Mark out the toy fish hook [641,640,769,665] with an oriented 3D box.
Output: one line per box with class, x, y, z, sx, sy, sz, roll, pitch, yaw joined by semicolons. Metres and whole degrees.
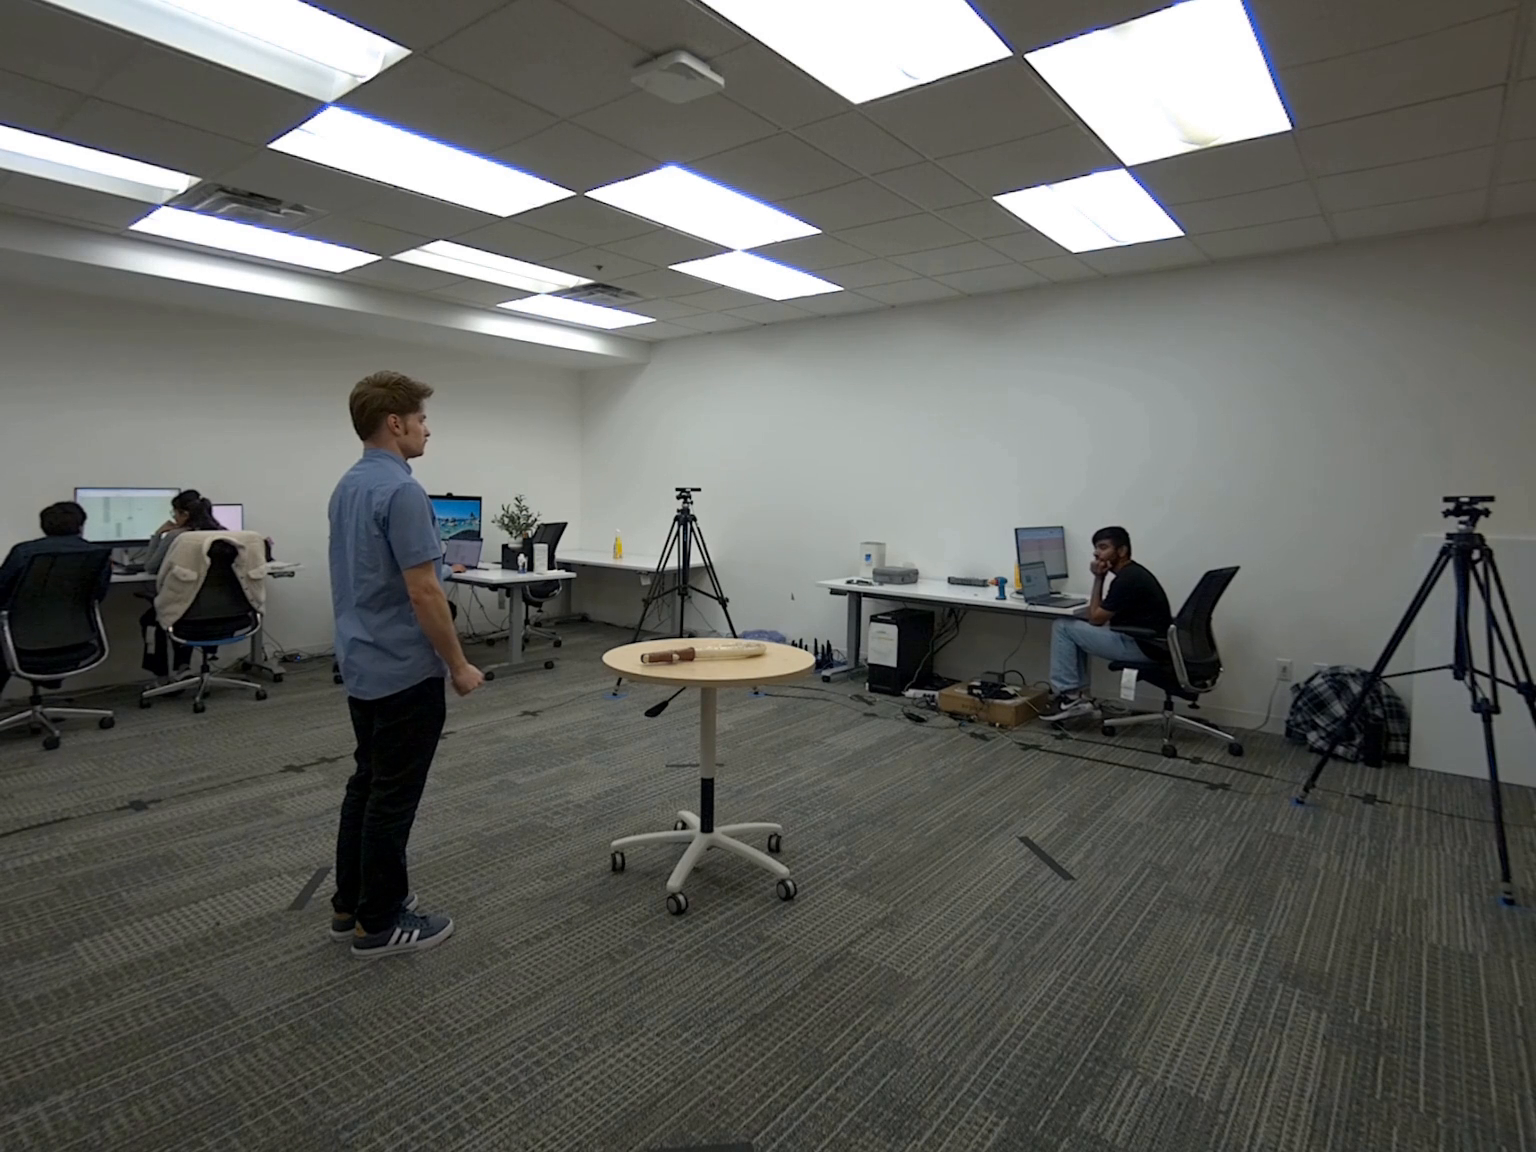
toy fish hook;-0.255;0.279;3.059;0.493;0.048;0.230;-1;0;-29
